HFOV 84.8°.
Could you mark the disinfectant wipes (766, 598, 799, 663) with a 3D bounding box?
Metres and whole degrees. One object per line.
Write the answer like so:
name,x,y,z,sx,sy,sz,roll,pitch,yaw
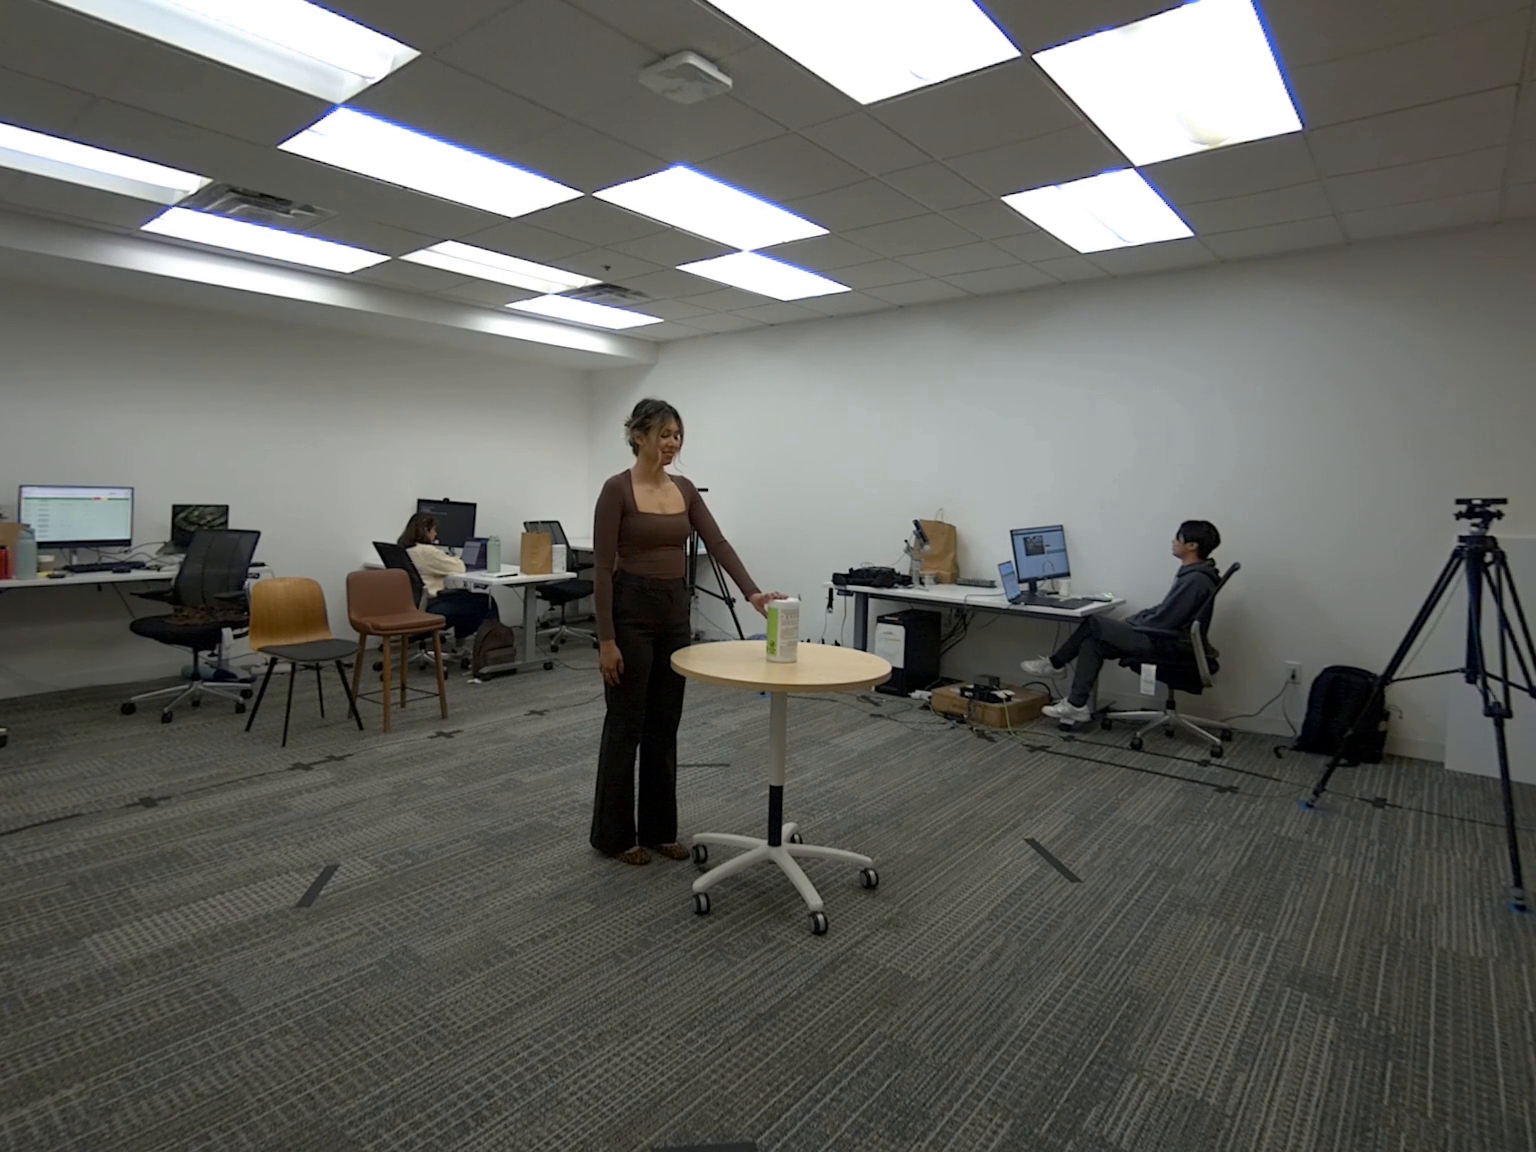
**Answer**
disinfectant wipes,0.043,0.185,2.964,0.118,0.217,0.118,0,3,-2
